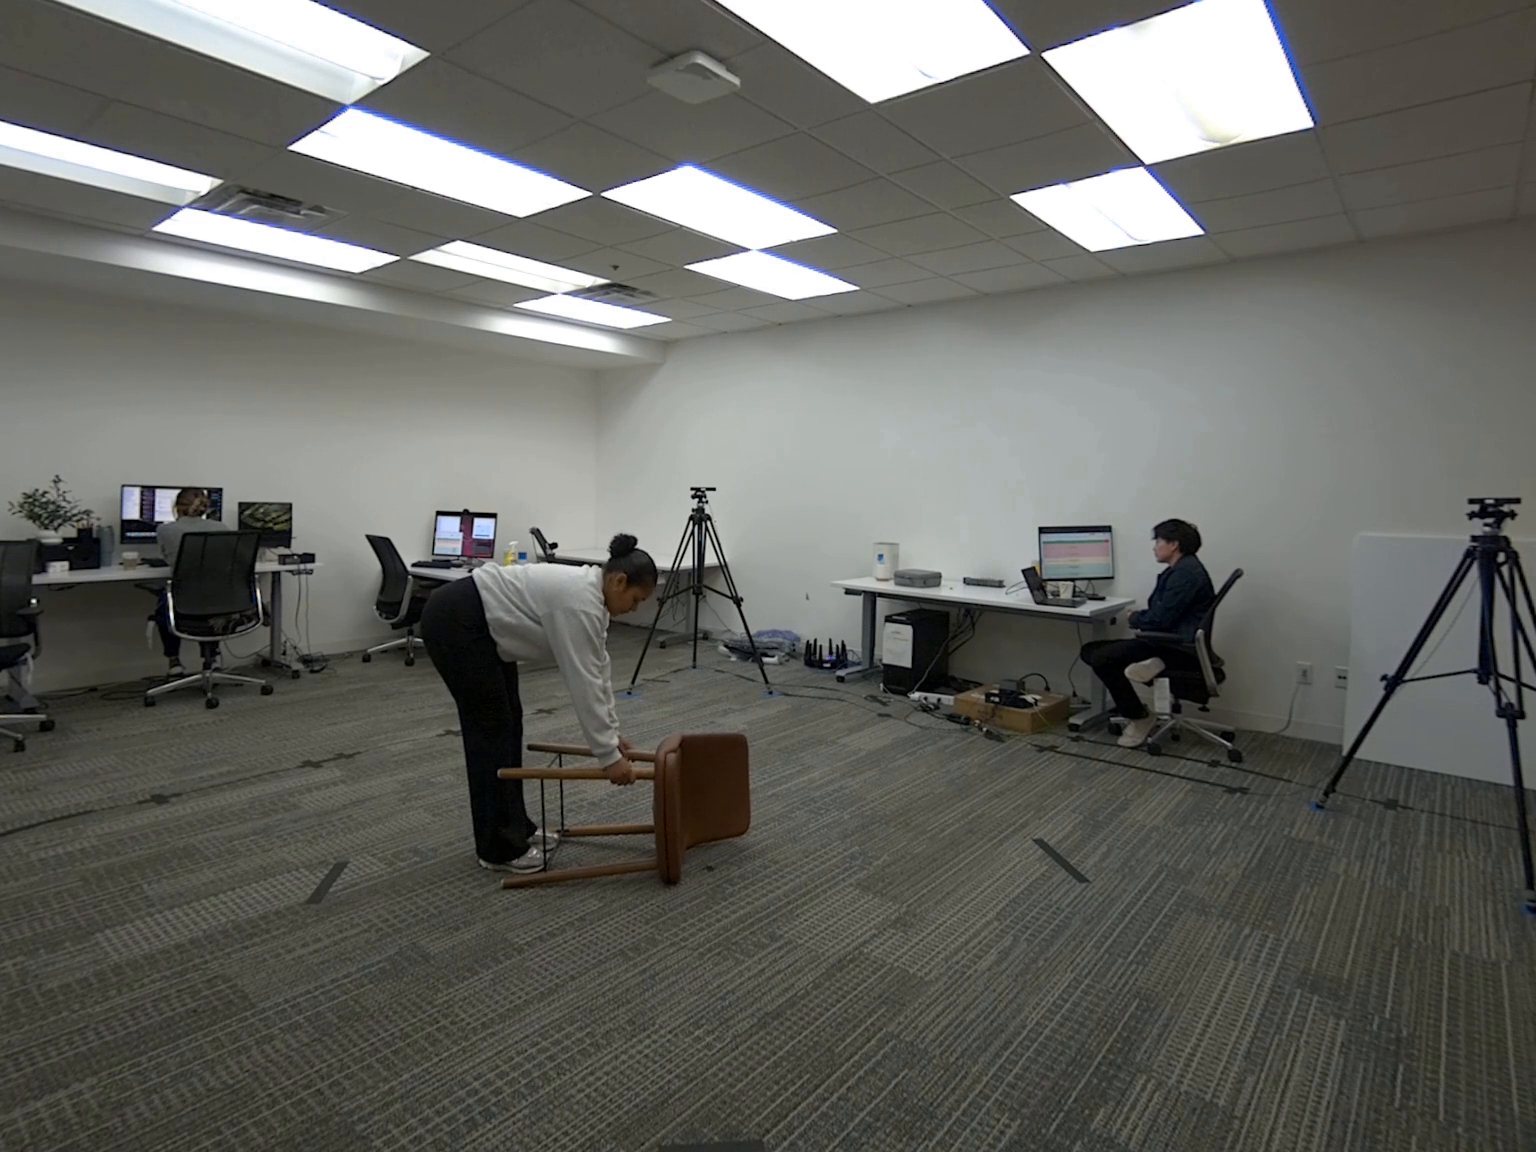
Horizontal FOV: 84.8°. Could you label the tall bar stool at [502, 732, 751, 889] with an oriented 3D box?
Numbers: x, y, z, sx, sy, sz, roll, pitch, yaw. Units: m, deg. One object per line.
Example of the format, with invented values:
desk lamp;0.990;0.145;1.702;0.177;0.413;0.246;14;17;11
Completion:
tall bar stool;-0.509;0.849;3.140;0.887;0.456;0.469;-2;2;-3
